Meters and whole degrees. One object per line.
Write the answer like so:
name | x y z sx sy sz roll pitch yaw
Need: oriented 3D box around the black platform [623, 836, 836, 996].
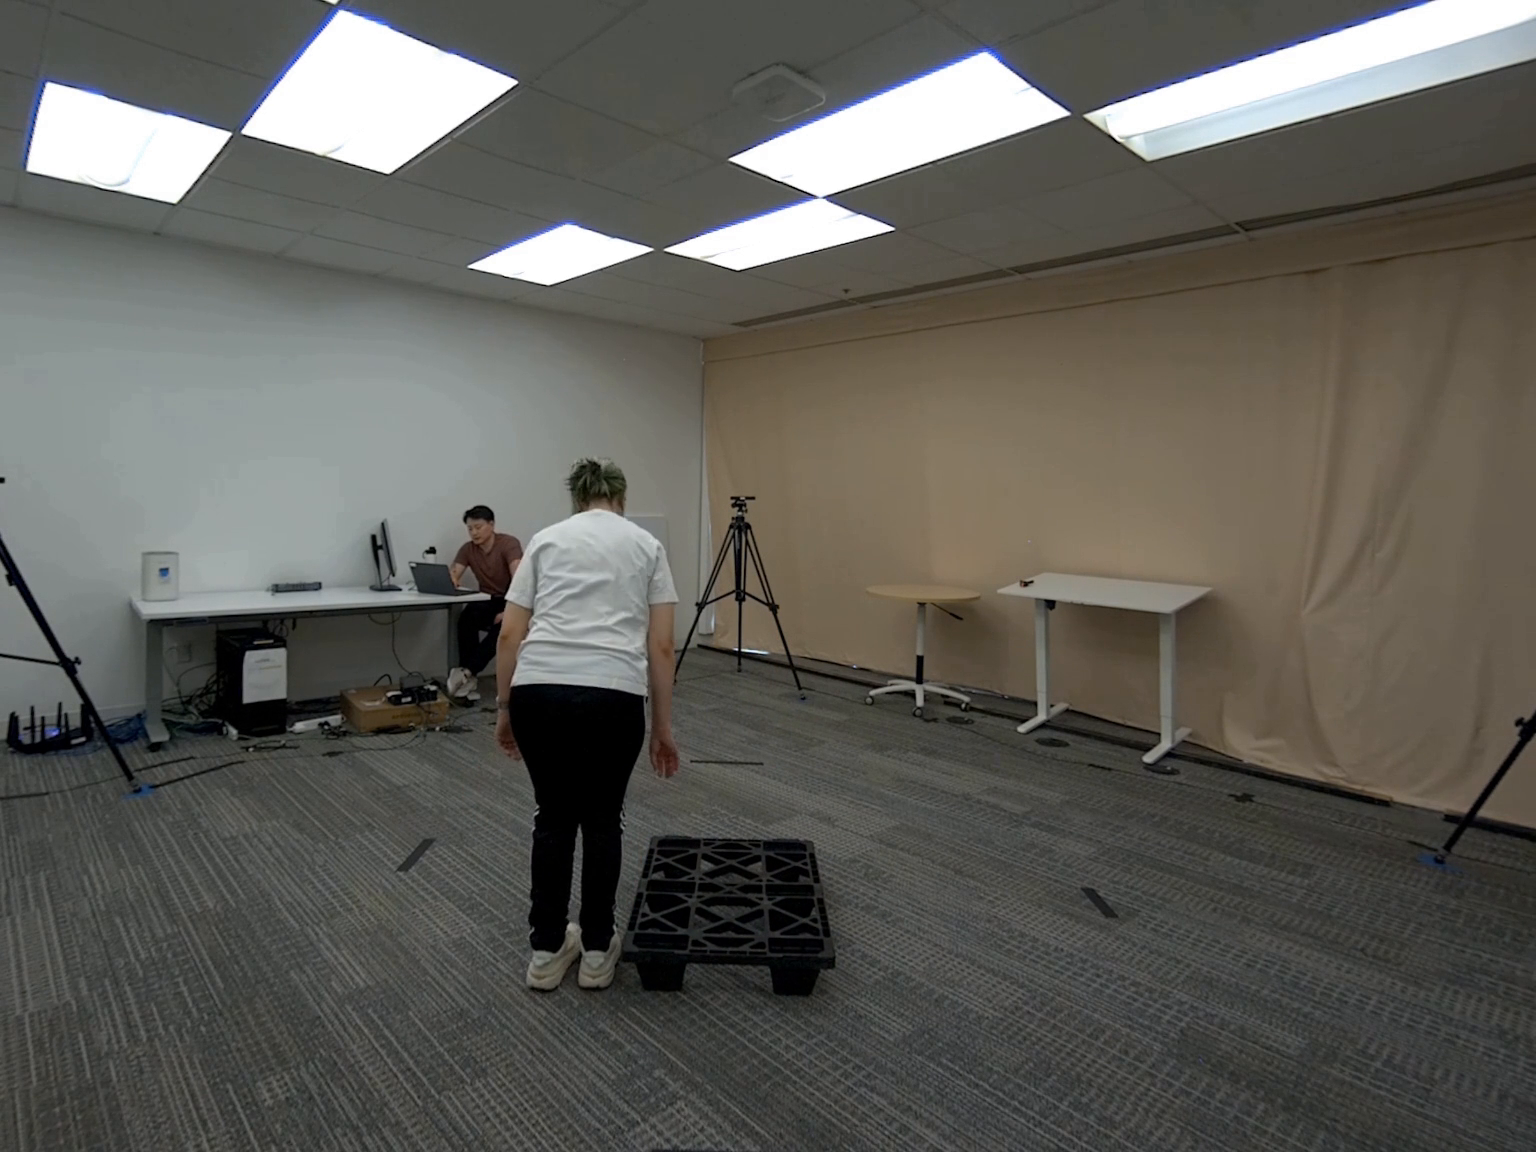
black platform | -0.124 1.071 2.724 0.605 0.143 0.808 2 5 -1
